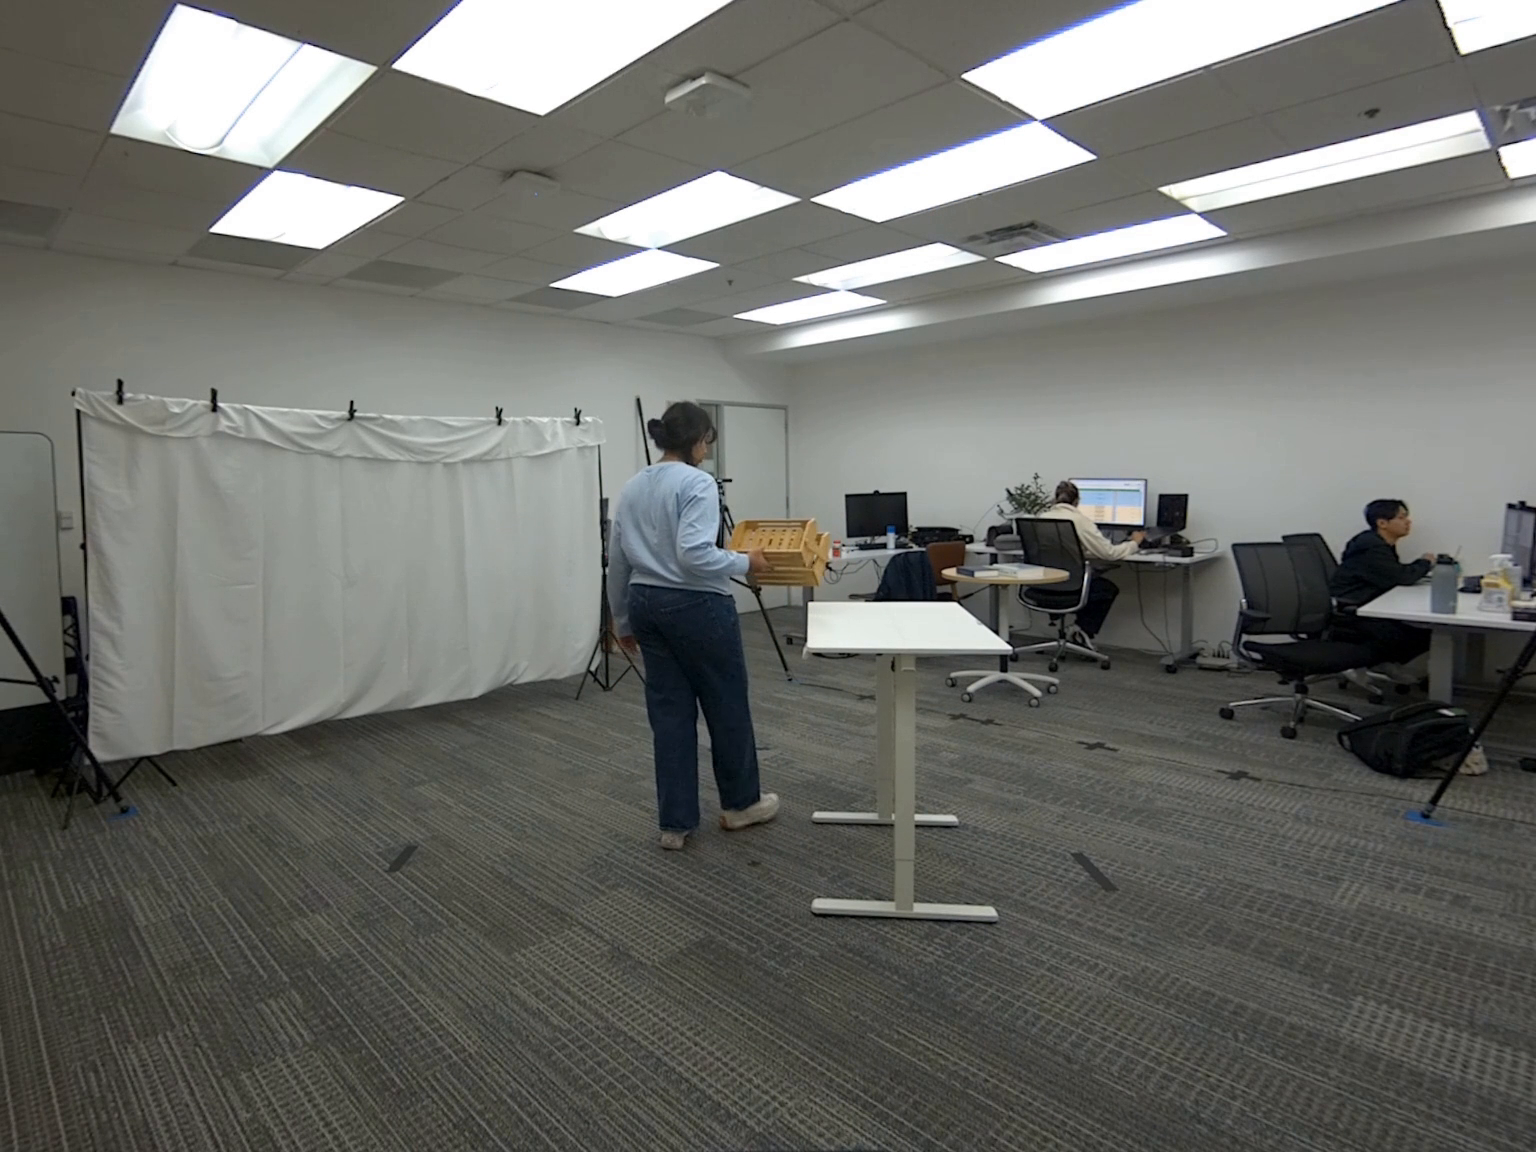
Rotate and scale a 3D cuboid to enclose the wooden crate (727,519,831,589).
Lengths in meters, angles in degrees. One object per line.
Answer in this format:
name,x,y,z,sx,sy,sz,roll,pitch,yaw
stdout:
wooden crate,0.058,-0.123,3.362,0.331,0.263,0.307,0,48,22
